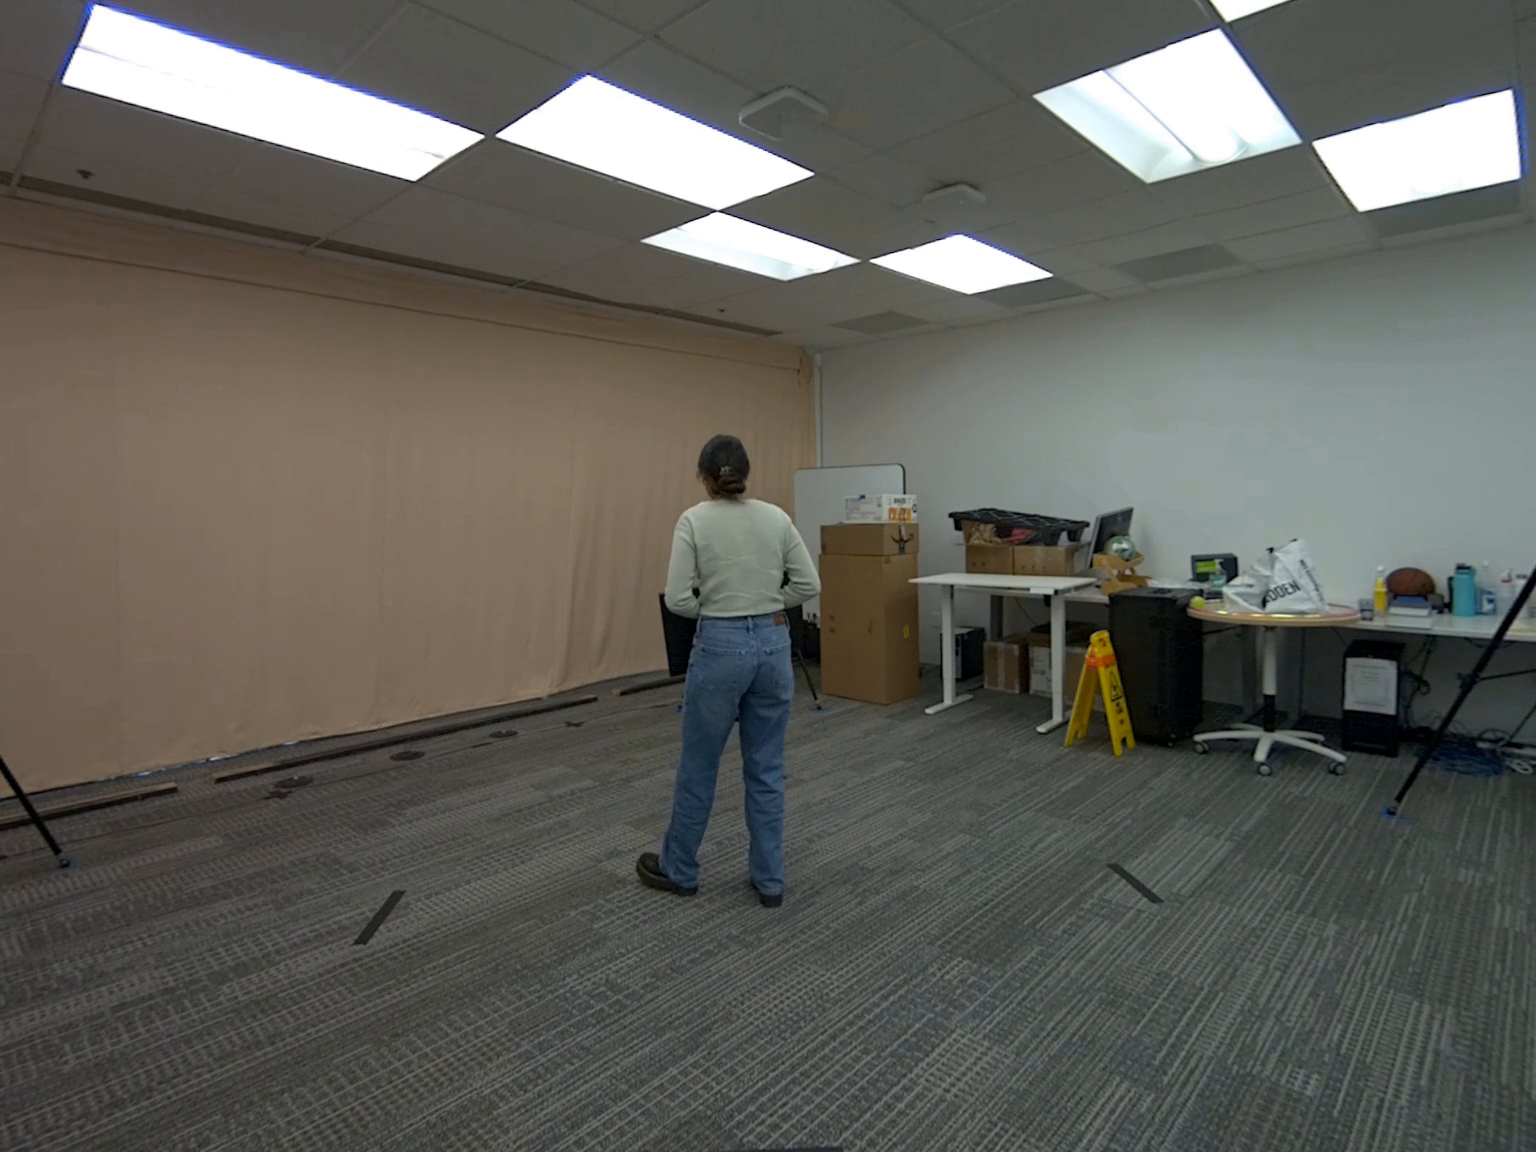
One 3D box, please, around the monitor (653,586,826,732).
[{"bbox_3d":[-0.109,0.256,3.125,0.525,0.514,0.177,-10,4,-10],"label":"monitor"}]
